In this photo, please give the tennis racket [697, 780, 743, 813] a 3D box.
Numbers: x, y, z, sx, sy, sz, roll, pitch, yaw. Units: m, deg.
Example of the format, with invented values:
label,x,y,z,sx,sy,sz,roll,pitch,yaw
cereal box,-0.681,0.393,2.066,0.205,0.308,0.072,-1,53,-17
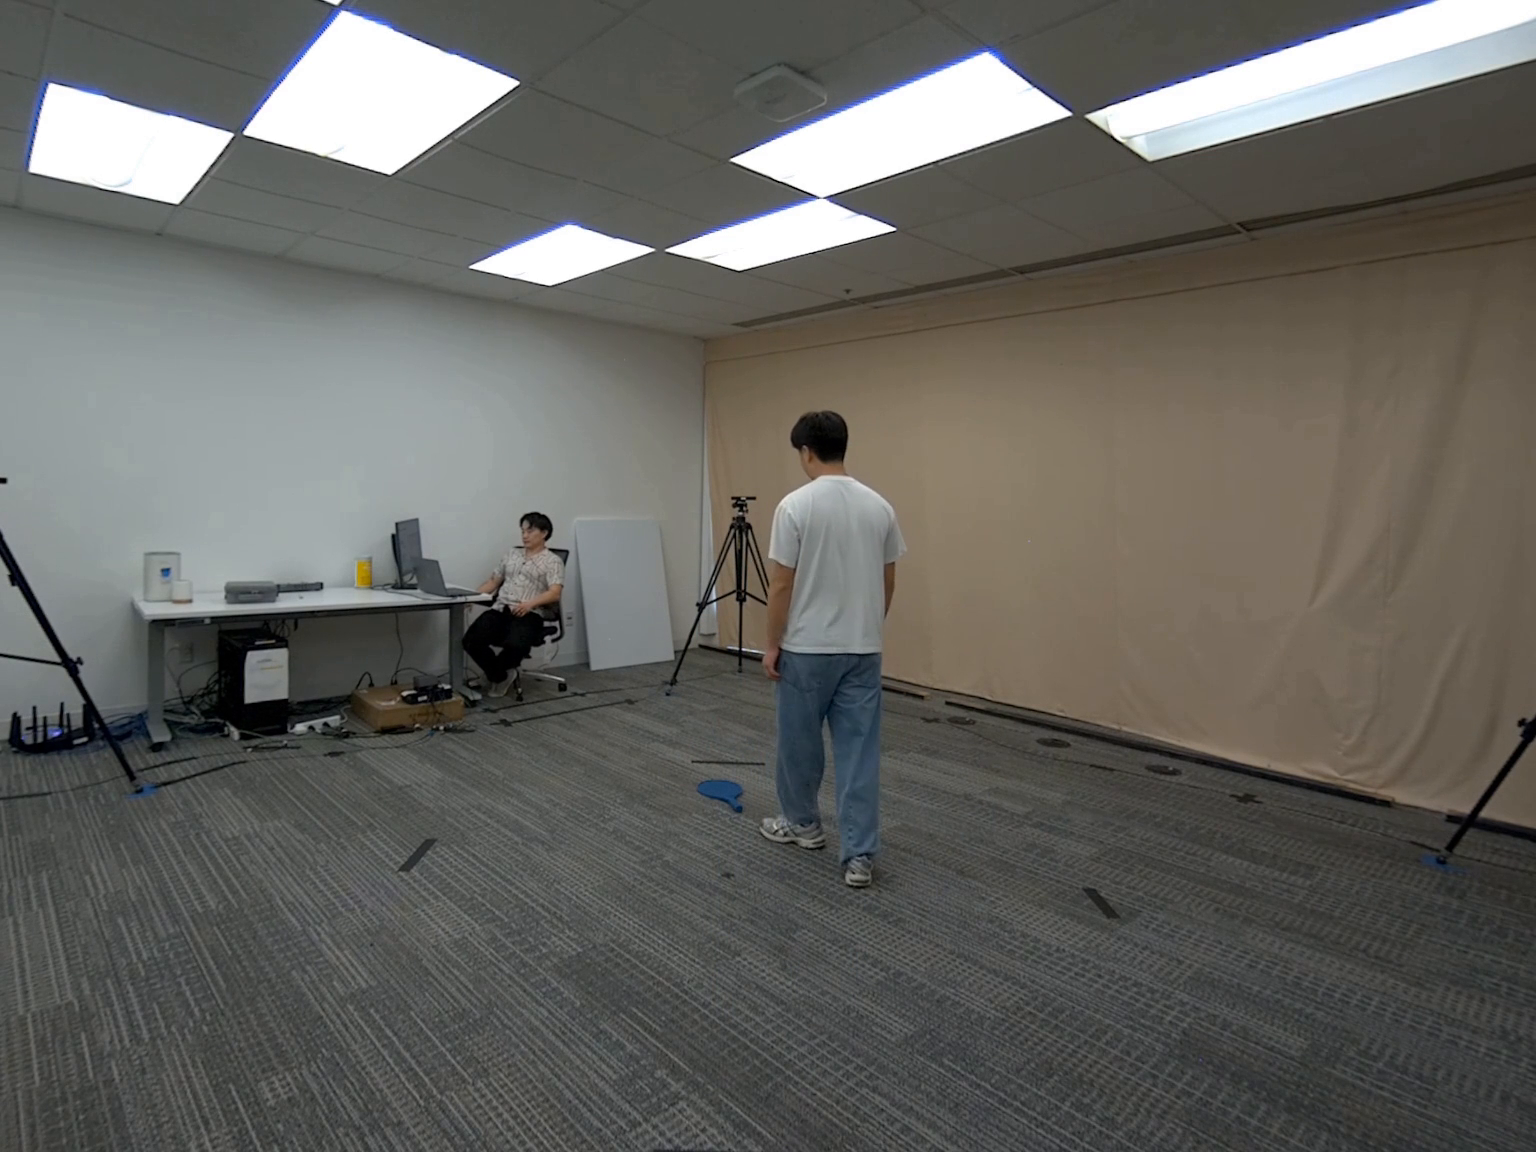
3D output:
label,x,y,z,sx,sy,sz,roll,pitch,yaw
tennis racket,-0.215,1.017,3.939,0.211,0.032,0.439,0,4,-18
